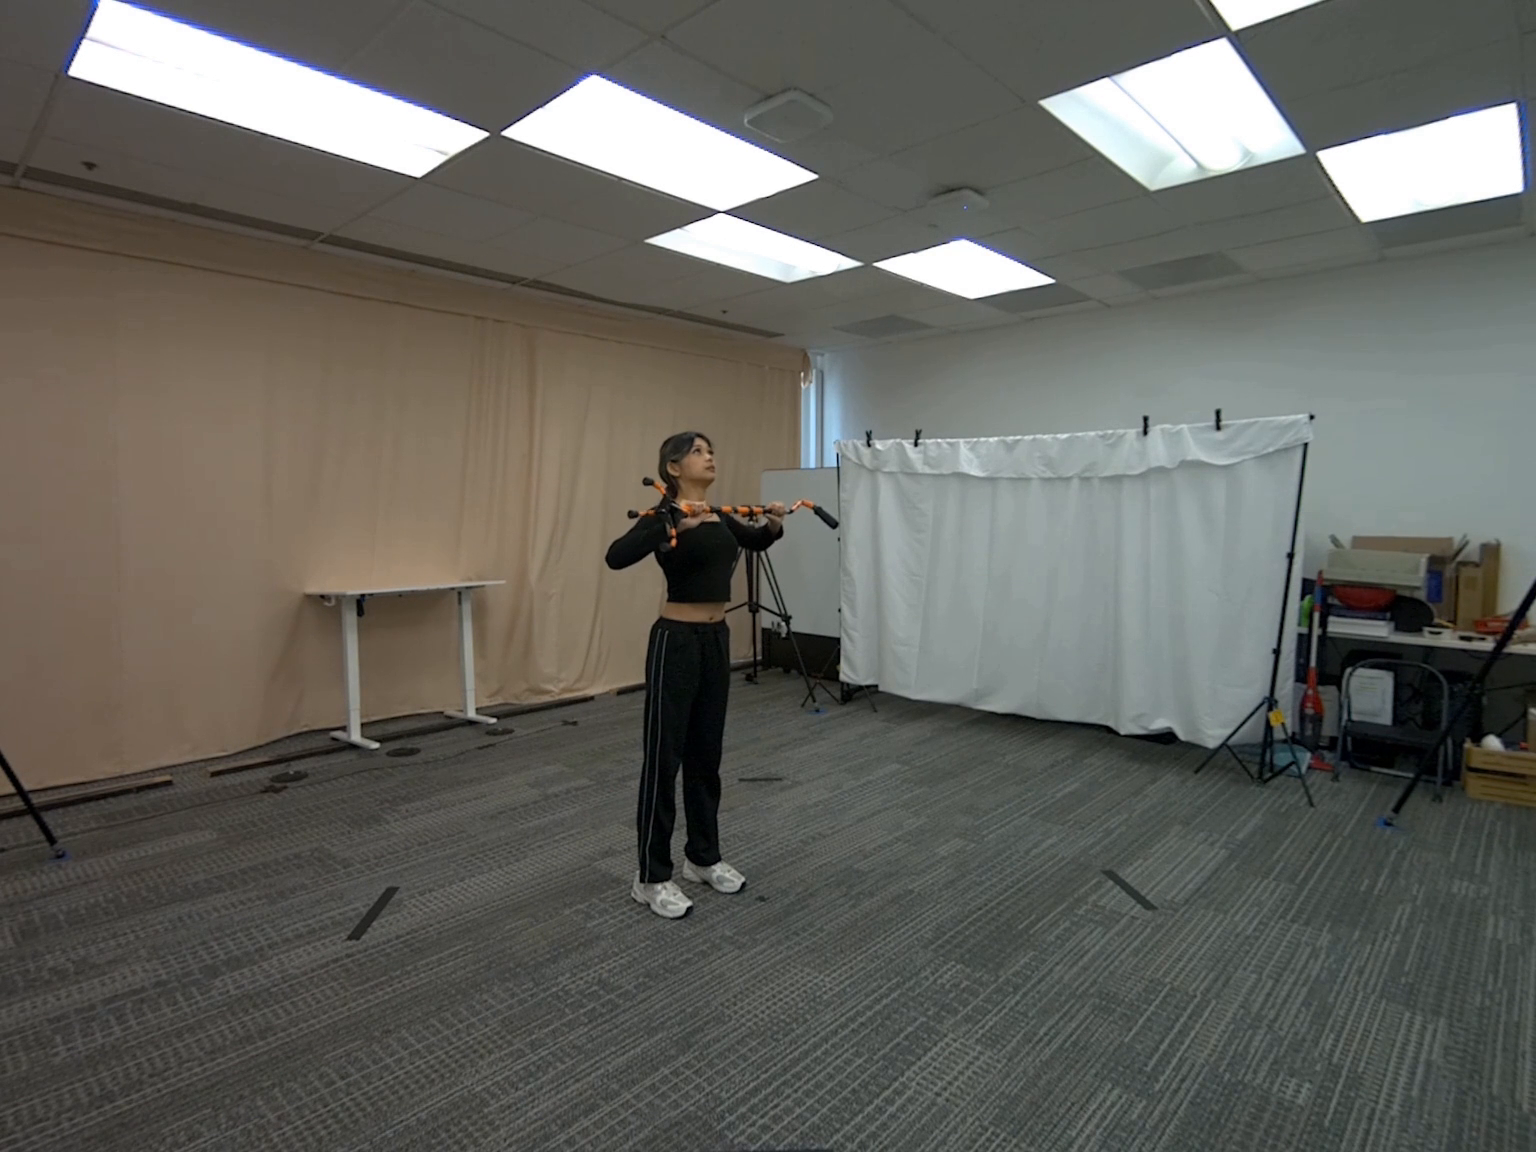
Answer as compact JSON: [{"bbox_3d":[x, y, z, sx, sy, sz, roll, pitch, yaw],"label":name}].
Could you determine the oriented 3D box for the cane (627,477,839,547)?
[{"bbox_3d":[-0.070,-0.220,2.922,0.880,0.151,0.213,-5,41,-50],"label":"cane"}]
